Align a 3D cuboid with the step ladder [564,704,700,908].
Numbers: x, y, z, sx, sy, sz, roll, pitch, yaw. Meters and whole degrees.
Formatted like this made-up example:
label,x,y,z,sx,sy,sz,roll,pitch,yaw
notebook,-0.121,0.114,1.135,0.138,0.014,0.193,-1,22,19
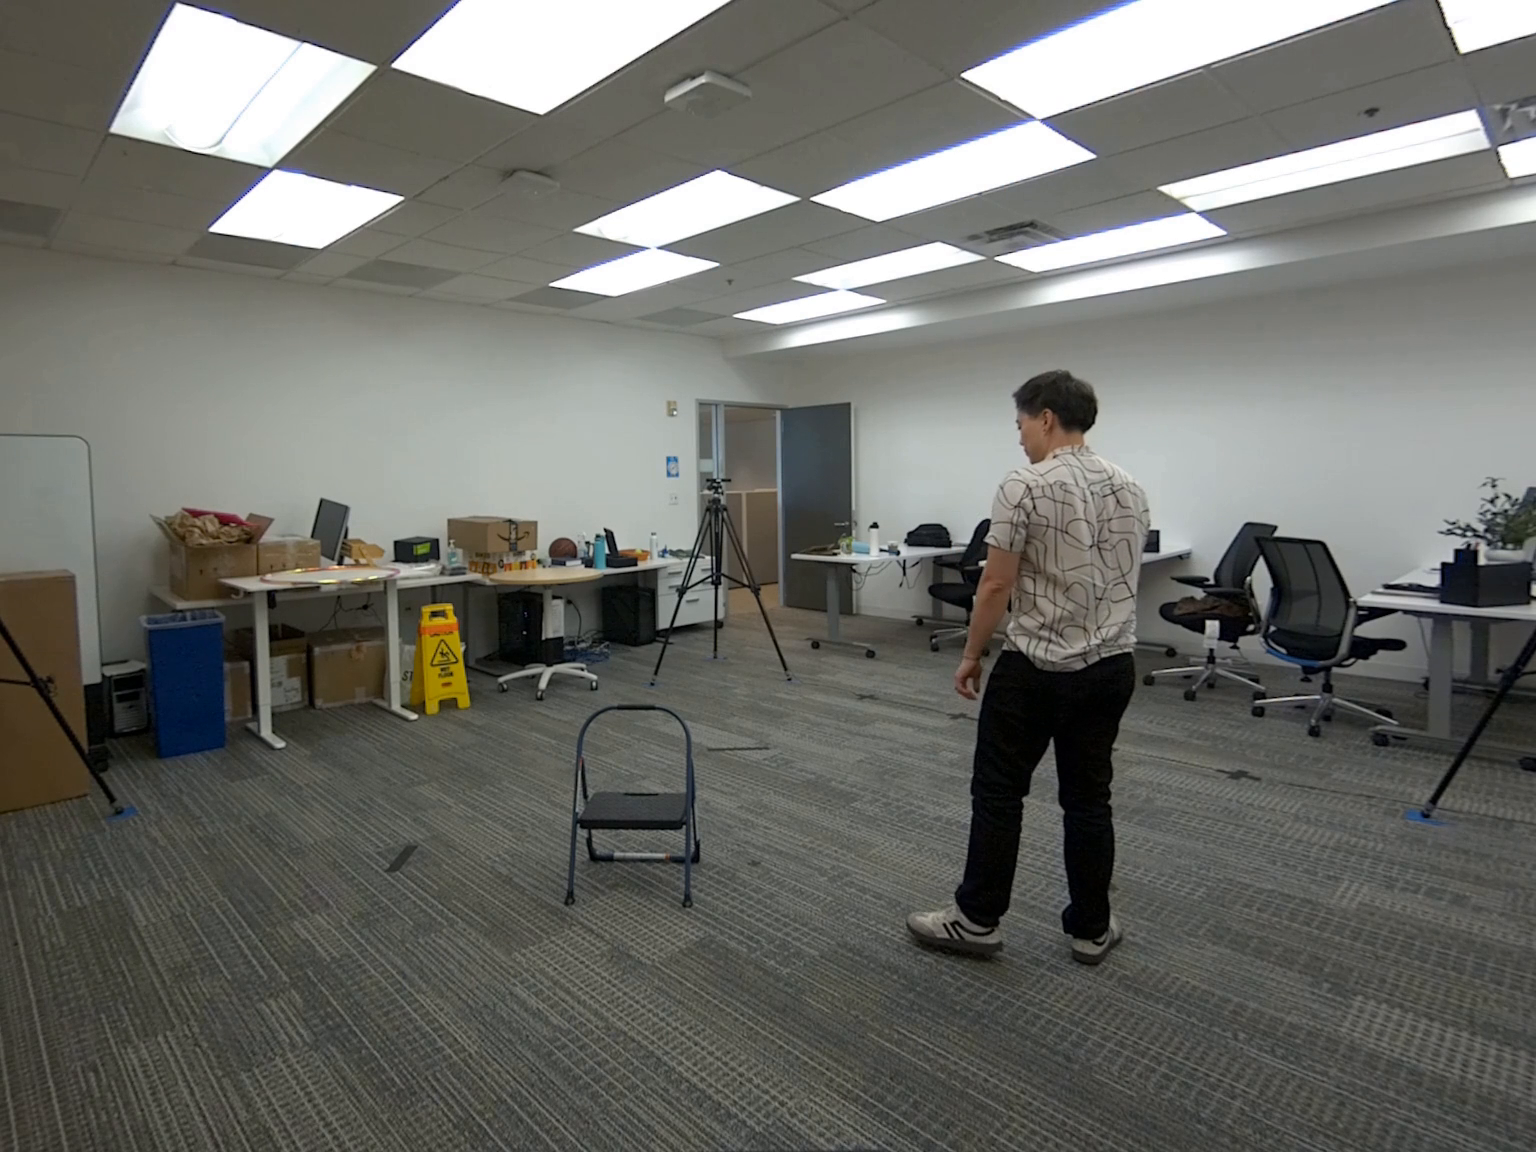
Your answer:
label,x,y,z,sx,sy,sz,roll,pitch,yaw
step ladder,-0.464,0.766,2.964,0.432,0.603,0.349,-1,5,3
